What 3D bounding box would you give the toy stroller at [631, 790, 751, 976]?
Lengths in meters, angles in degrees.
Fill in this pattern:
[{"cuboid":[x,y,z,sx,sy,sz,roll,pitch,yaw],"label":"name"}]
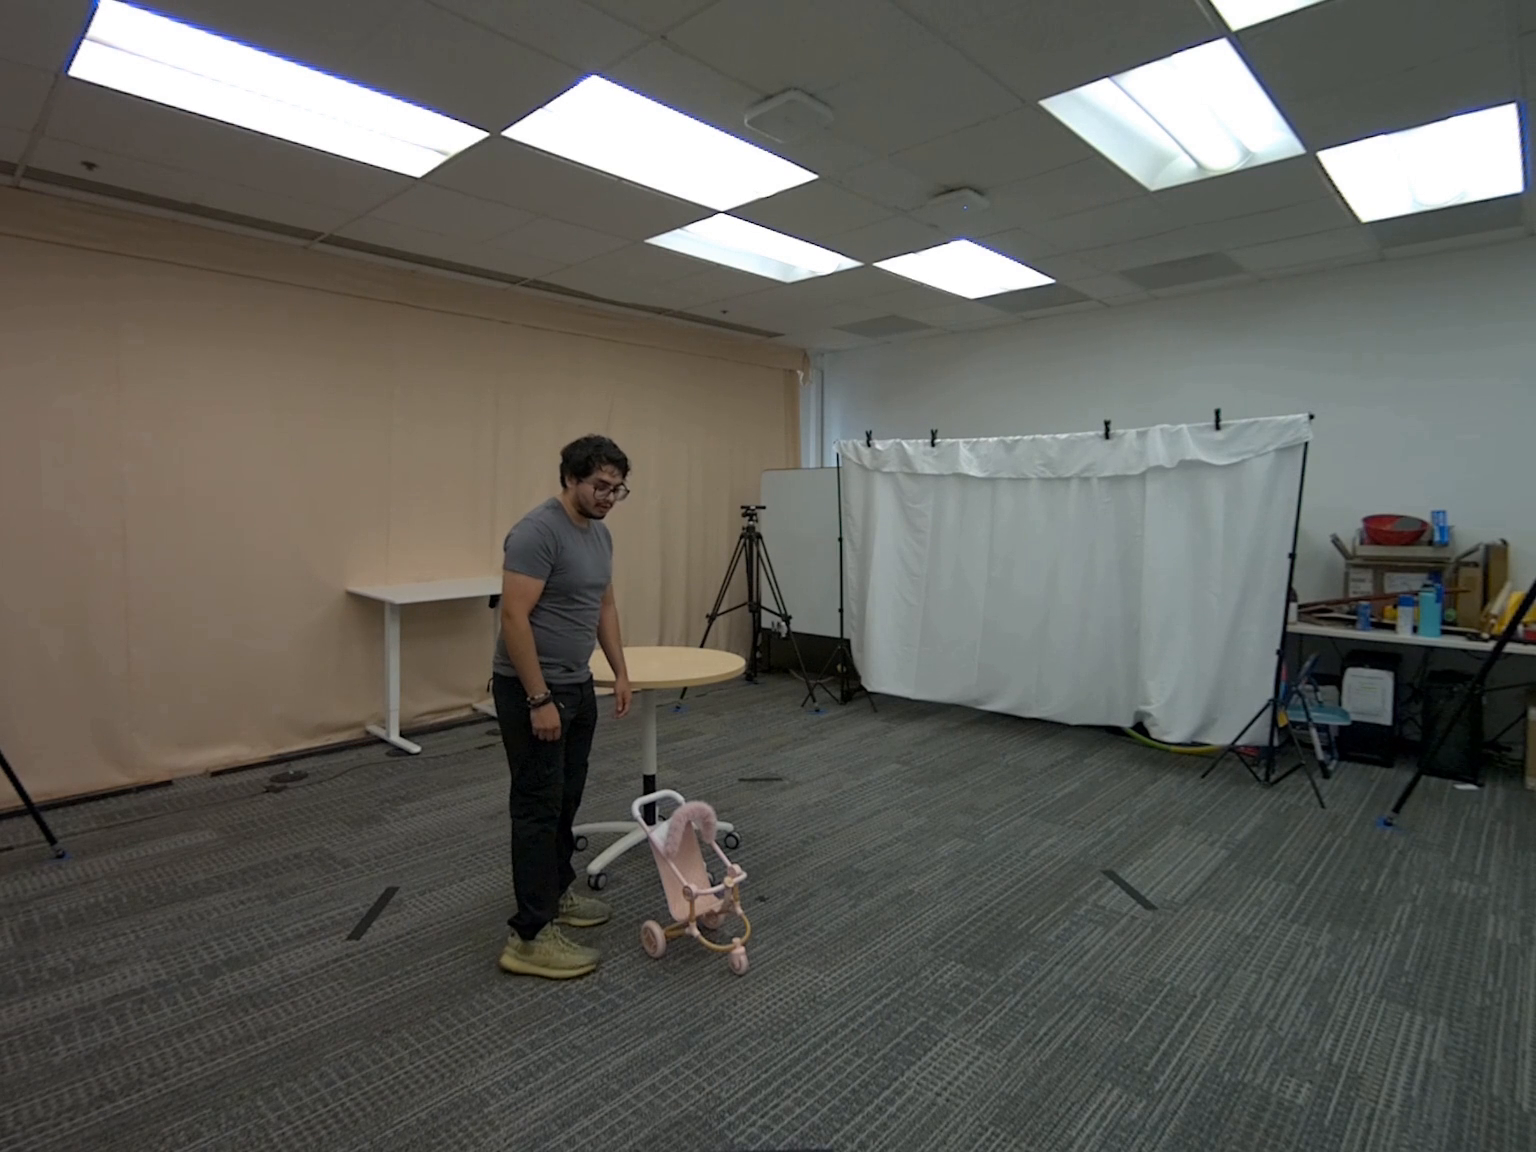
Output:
[{"cuboid":[-0.222,0.949,2.626,0.273,0.539,0.349,-3,-11,-41],"label":"toy stroller"}]
